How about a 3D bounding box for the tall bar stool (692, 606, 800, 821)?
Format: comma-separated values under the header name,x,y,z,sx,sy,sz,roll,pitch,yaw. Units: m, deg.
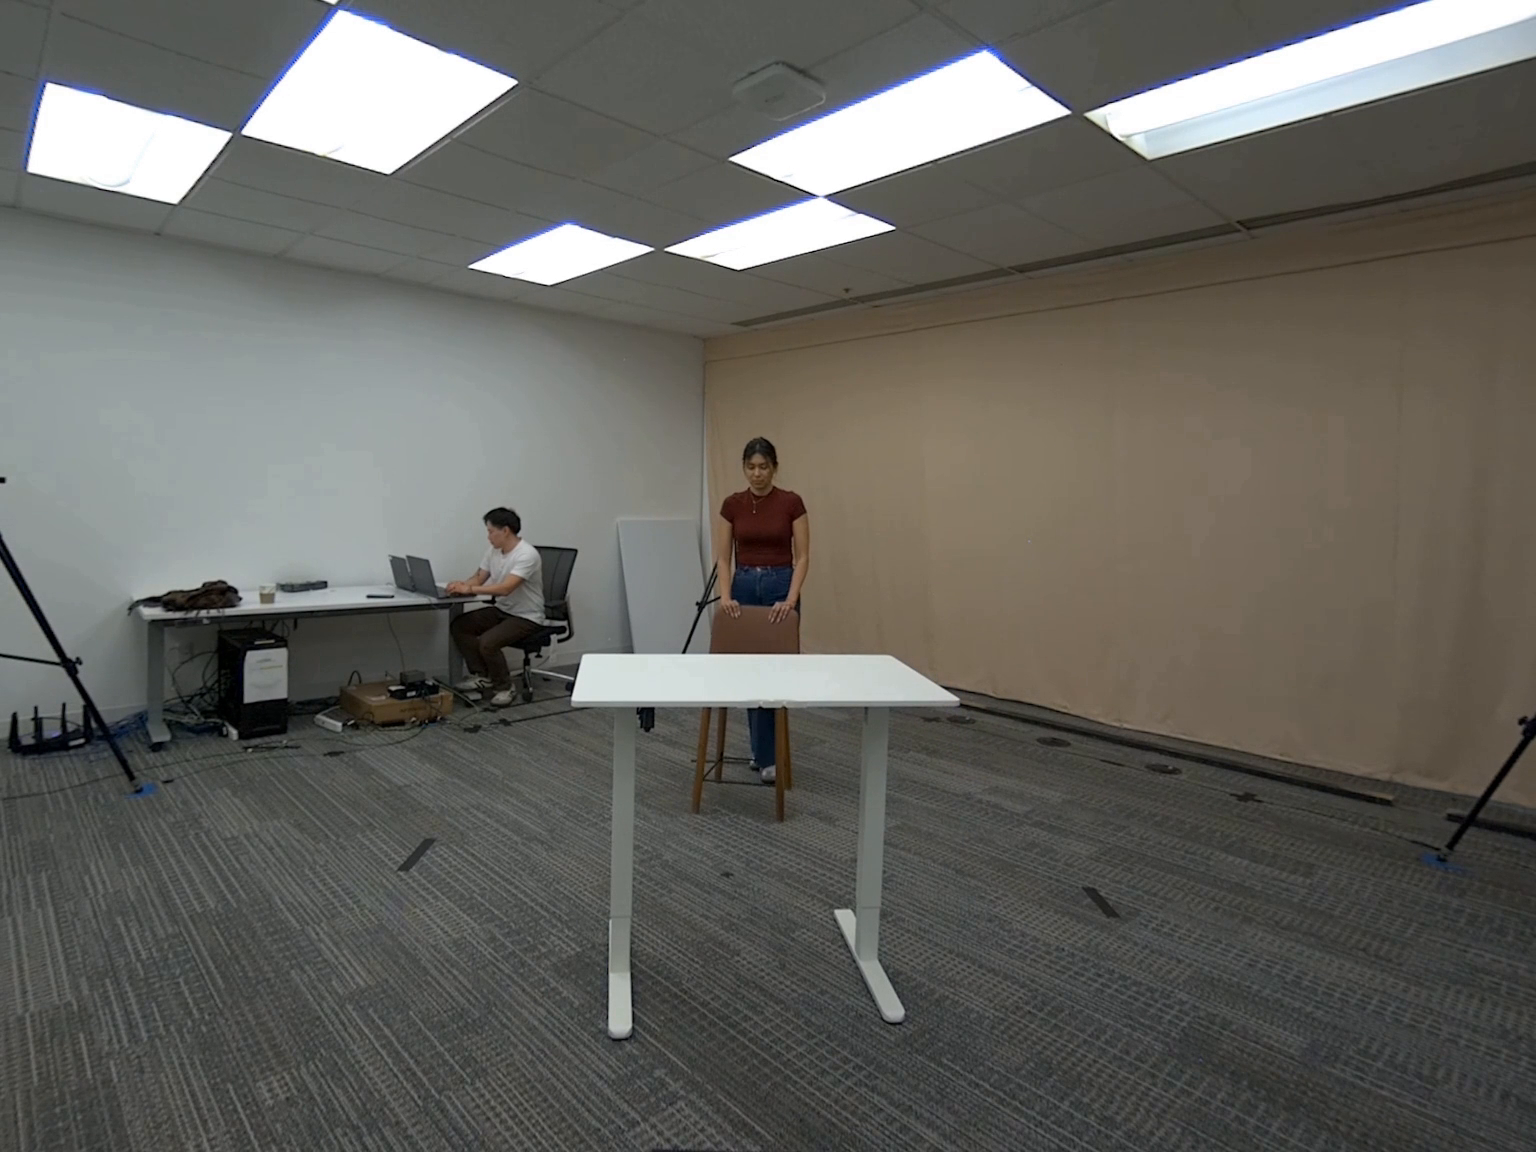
name,x,y,z,sx,sy,sz,roll,pitch,yaw
tall bar stool,-0.104,0.602,3.867,0.460,0.889,0.464,2,1,9
